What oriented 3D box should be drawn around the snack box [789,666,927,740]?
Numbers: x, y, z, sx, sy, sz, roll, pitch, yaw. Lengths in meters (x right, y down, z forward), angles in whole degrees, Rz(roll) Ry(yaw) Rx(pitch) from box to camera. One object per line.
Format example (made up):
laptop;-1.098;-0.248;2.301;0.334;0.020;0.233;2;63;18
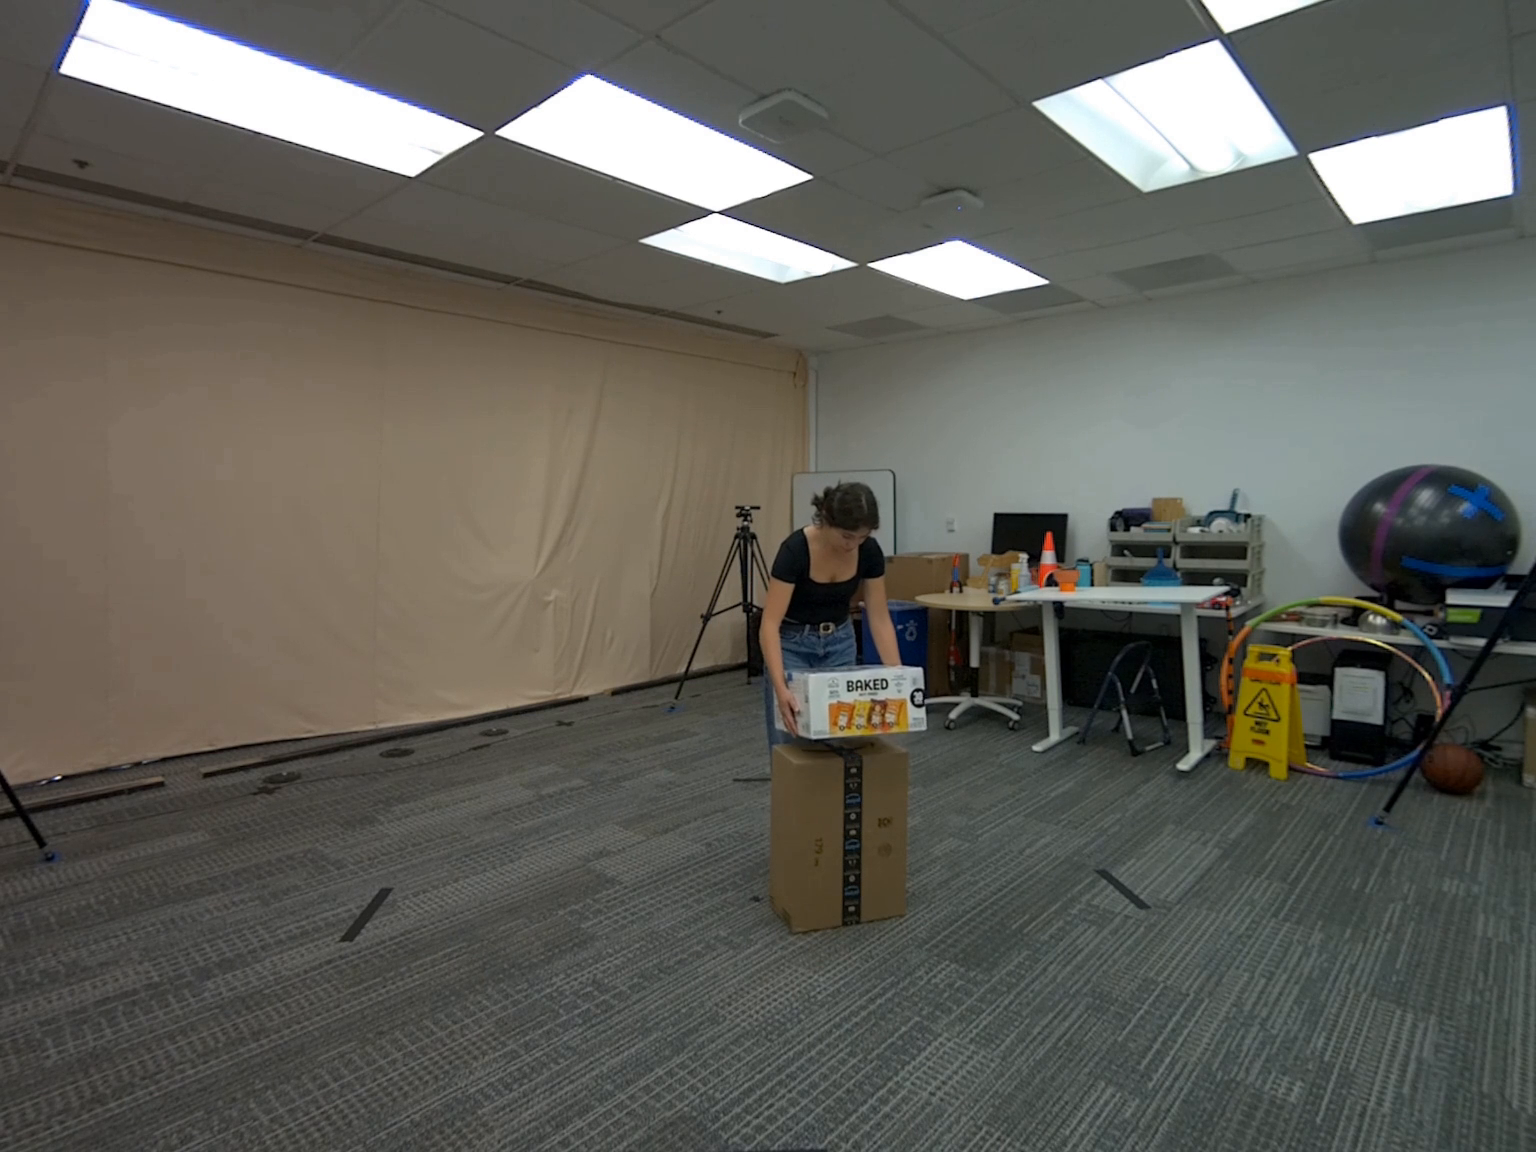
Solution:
snack box;0.266;0.416;2.848;0.398;0.206;0.345;-1;-5;-18
